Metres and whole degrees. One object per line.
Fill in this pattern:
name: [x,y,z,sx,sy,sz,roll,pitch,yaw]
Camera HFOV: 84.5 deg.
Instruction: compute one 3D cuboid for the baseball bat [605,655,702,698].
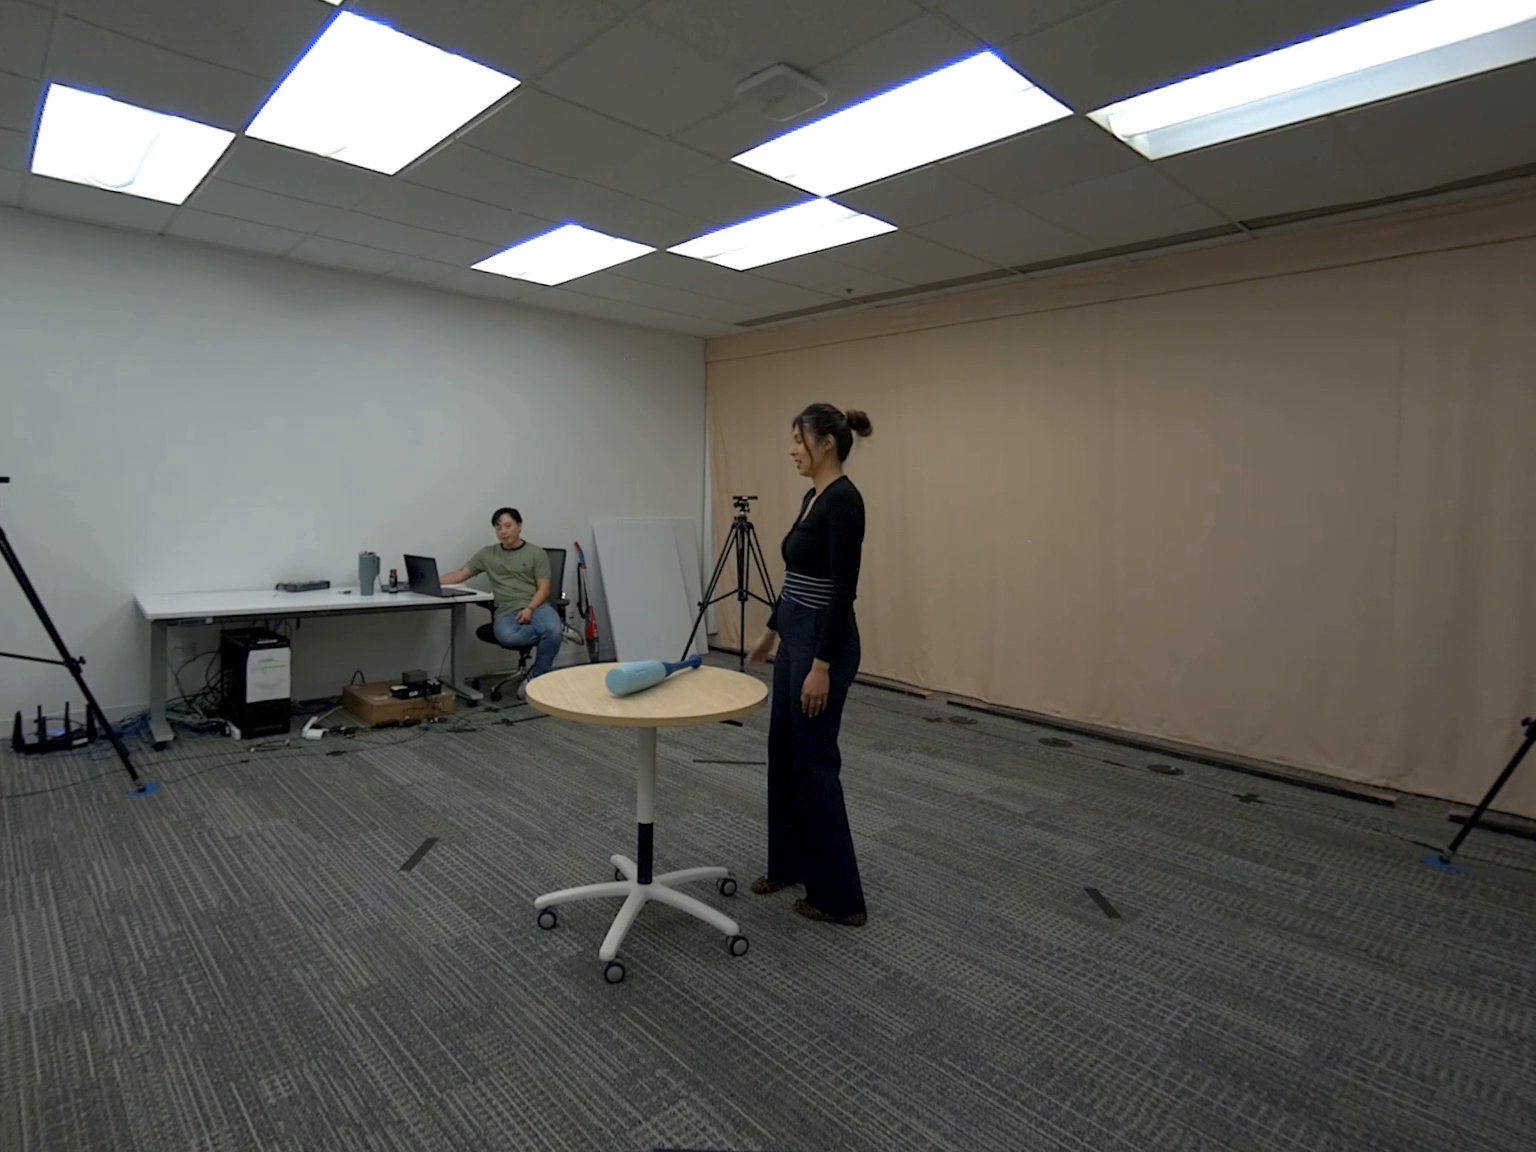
baseball bat: [-0.355,0.313,2.747,0.090,0.089,0.534,3,2,22]
